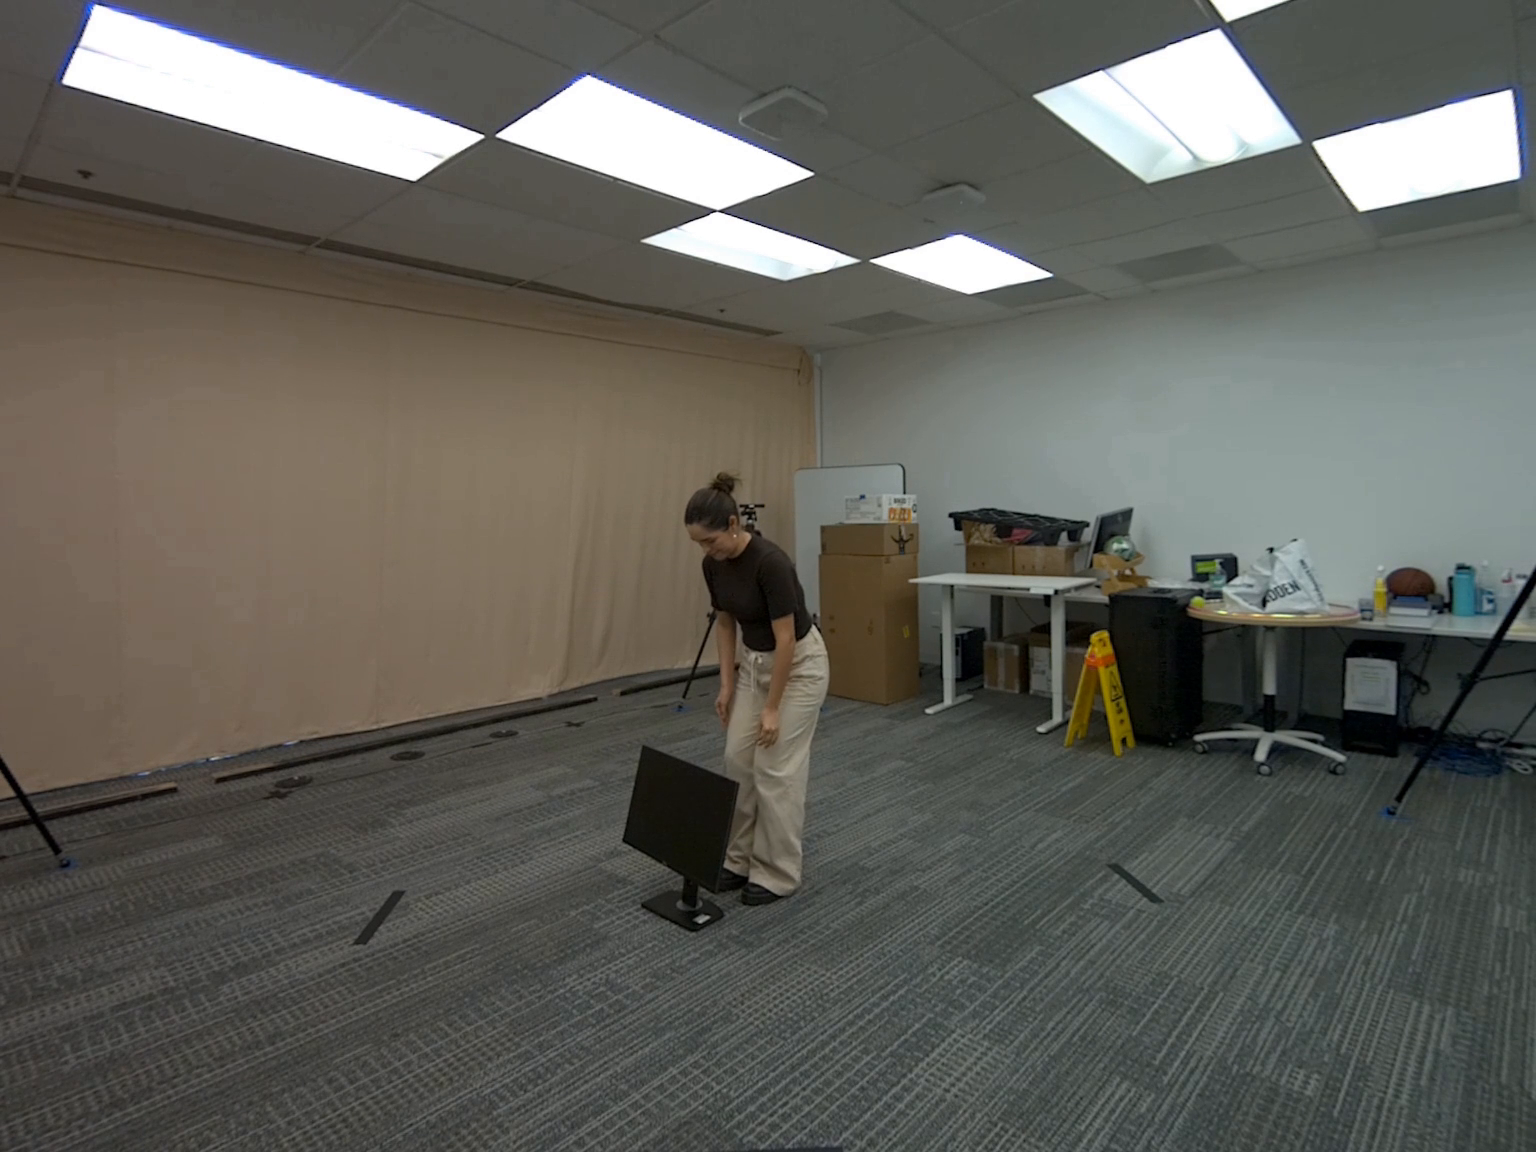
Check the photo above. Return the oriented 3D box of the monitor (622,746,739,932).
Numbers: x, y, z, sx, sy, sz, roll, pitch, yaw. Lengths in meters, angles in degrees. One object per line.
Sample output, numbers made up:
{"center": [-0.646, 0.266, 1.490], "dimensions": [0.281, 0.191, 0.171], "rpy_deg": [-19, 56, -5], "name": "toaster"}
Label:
{"center": [-0.283, 0.902, 2.893], "dimensions": [0.181, 0.522, 0.557], "rpy_deg": [-1, 3, -44], "name": "monitor"}
